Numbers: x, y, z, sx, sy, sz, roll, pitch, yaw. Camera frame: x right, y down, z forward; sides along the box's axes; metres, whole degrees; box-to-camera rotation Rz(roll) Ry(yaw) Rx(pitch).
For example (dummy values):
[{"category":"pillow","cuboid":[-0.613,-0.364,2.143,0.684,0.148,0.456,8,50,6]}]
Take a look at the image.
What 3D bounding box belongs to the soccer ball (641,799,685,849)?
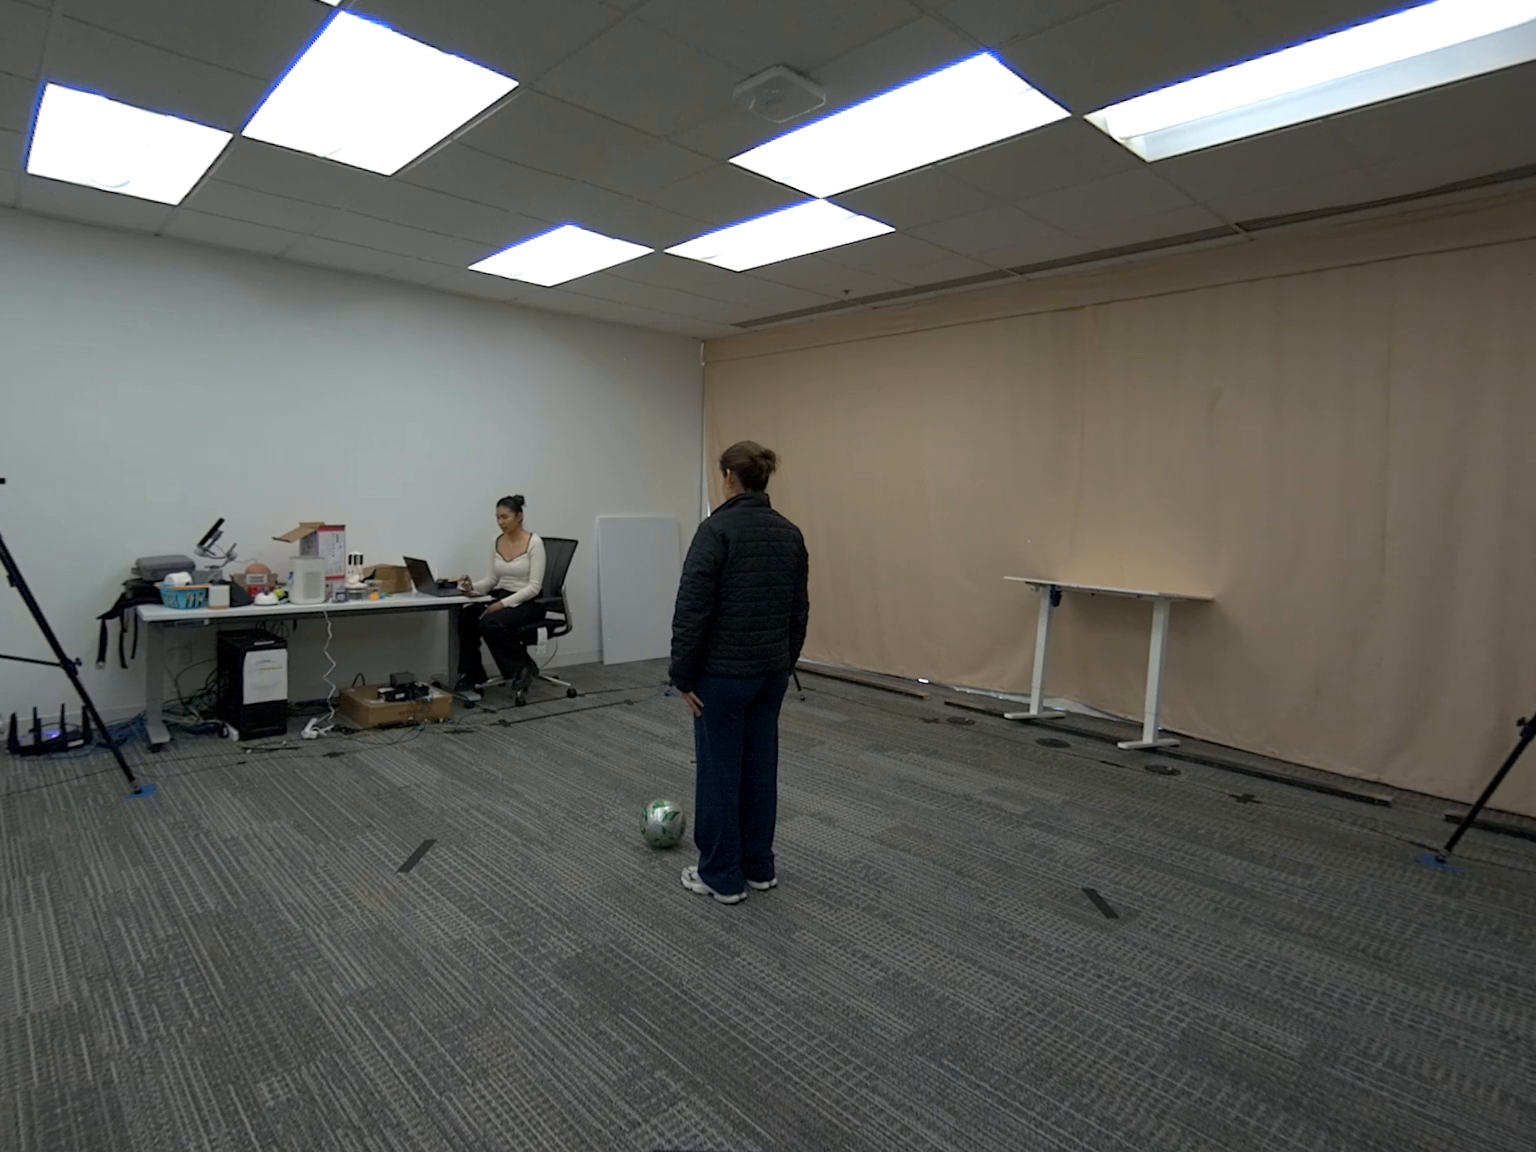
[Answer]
[{"category":"soccer ball","cuboid":[-0.426,0.984,3.352,0.187,0.187,0.188,1,4,-1]}]
